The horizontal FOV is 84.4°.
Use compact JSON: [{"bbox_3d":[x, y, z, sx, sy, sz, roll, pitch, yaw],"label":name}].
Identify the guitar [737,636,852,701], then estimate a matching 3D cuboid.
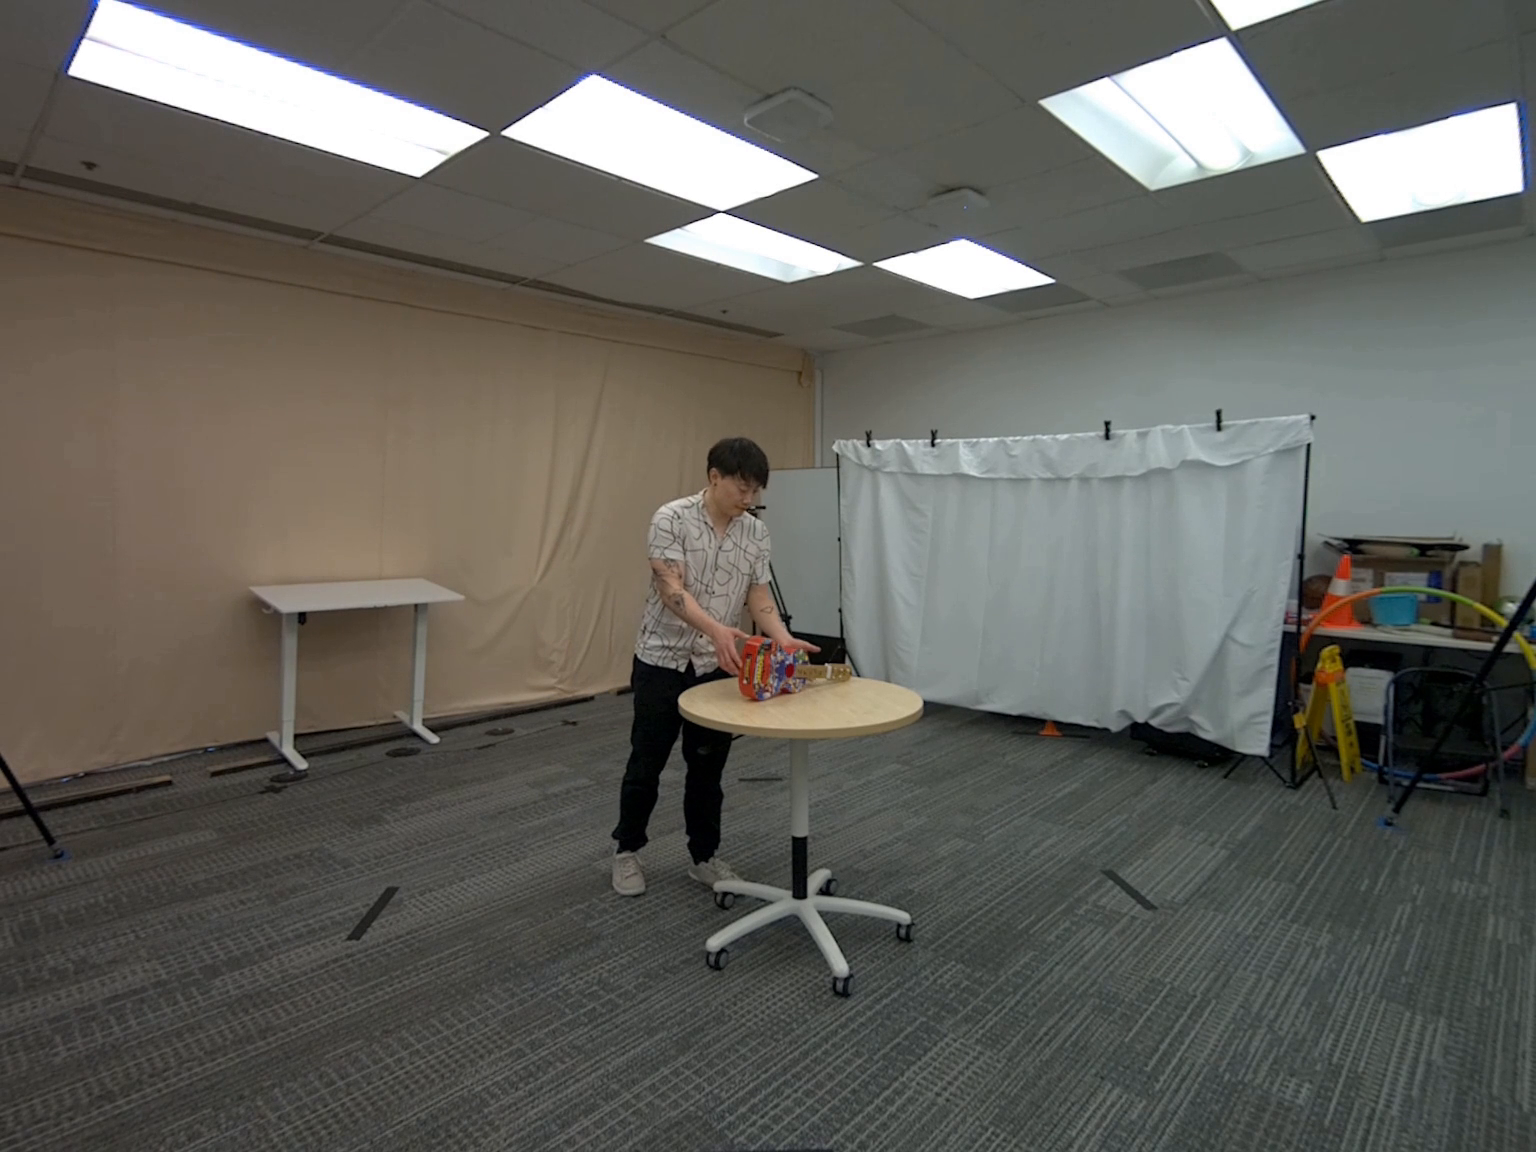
[{"bbox_3d":[0.094,0.338,2.762,0.073,0.194,0.480,1,-15,45],"label":"guitar"}]
